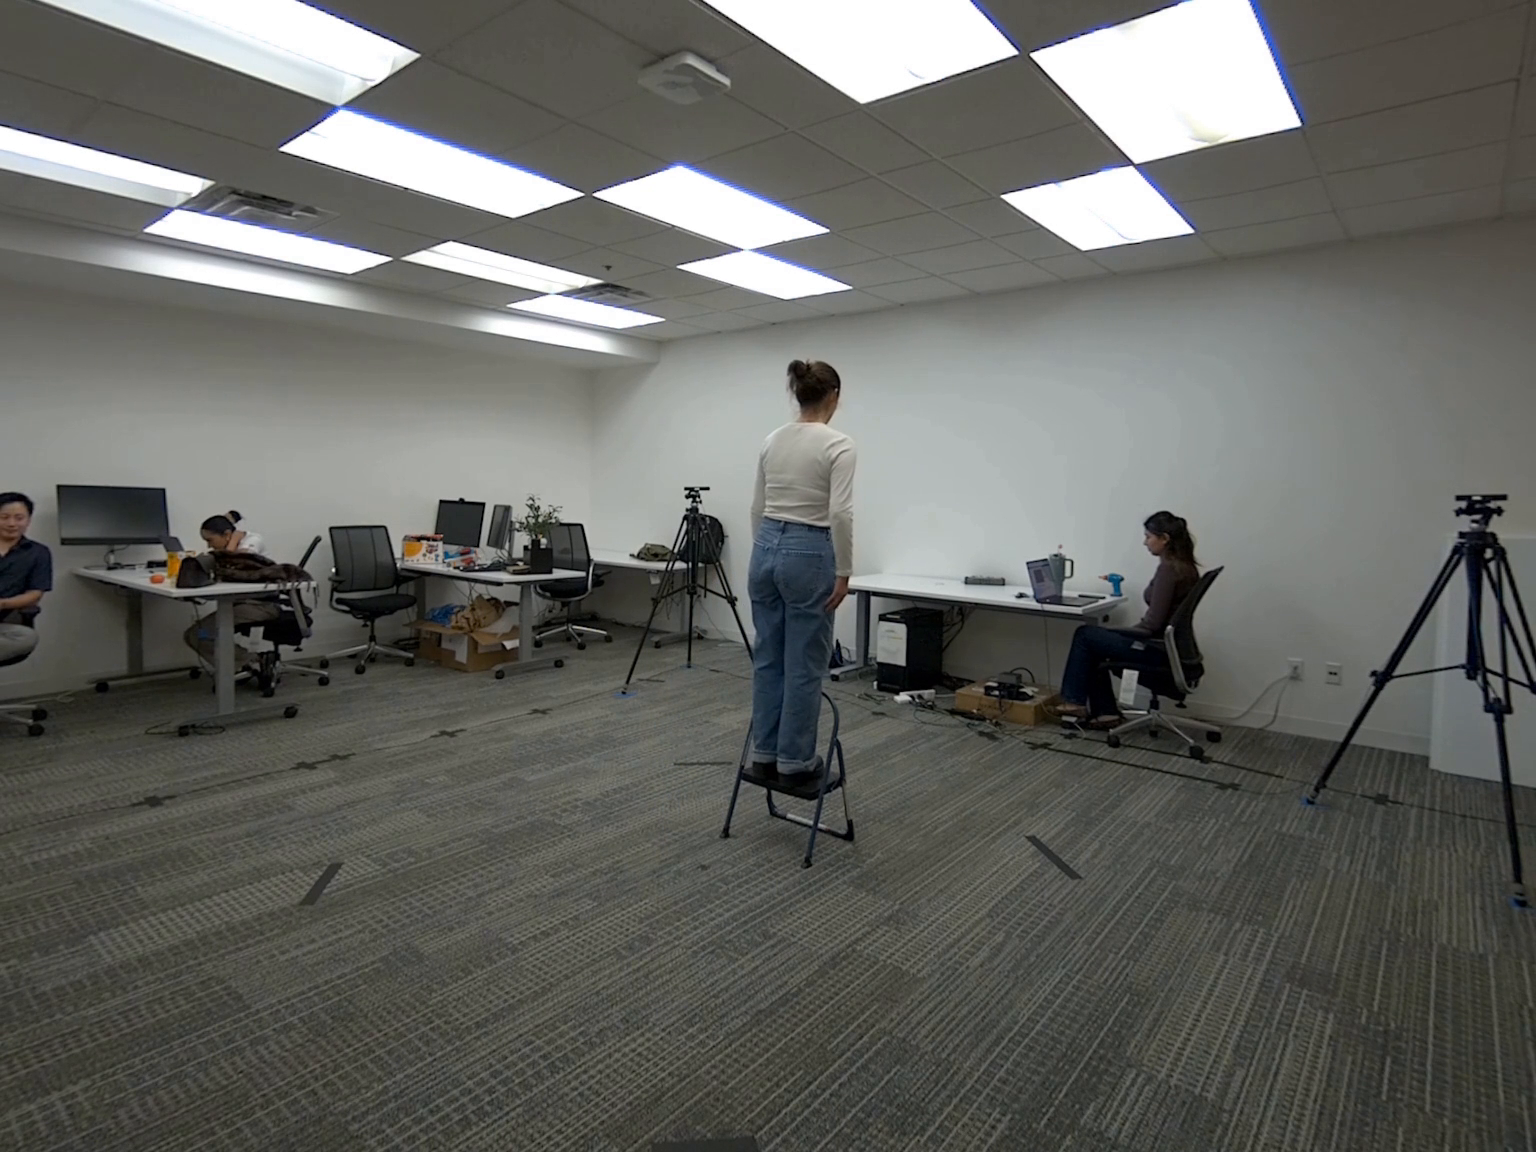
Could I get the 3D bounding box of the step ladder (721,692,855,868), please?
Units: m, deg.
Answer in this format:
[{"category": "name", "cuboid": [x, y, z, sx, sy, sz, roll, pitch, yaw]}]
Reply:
[{"category": "step ladder", "cuboid": [0.078, 0.739, 3.375, 0.445, 0.604, 0.339, 4, 5, 38]}]
